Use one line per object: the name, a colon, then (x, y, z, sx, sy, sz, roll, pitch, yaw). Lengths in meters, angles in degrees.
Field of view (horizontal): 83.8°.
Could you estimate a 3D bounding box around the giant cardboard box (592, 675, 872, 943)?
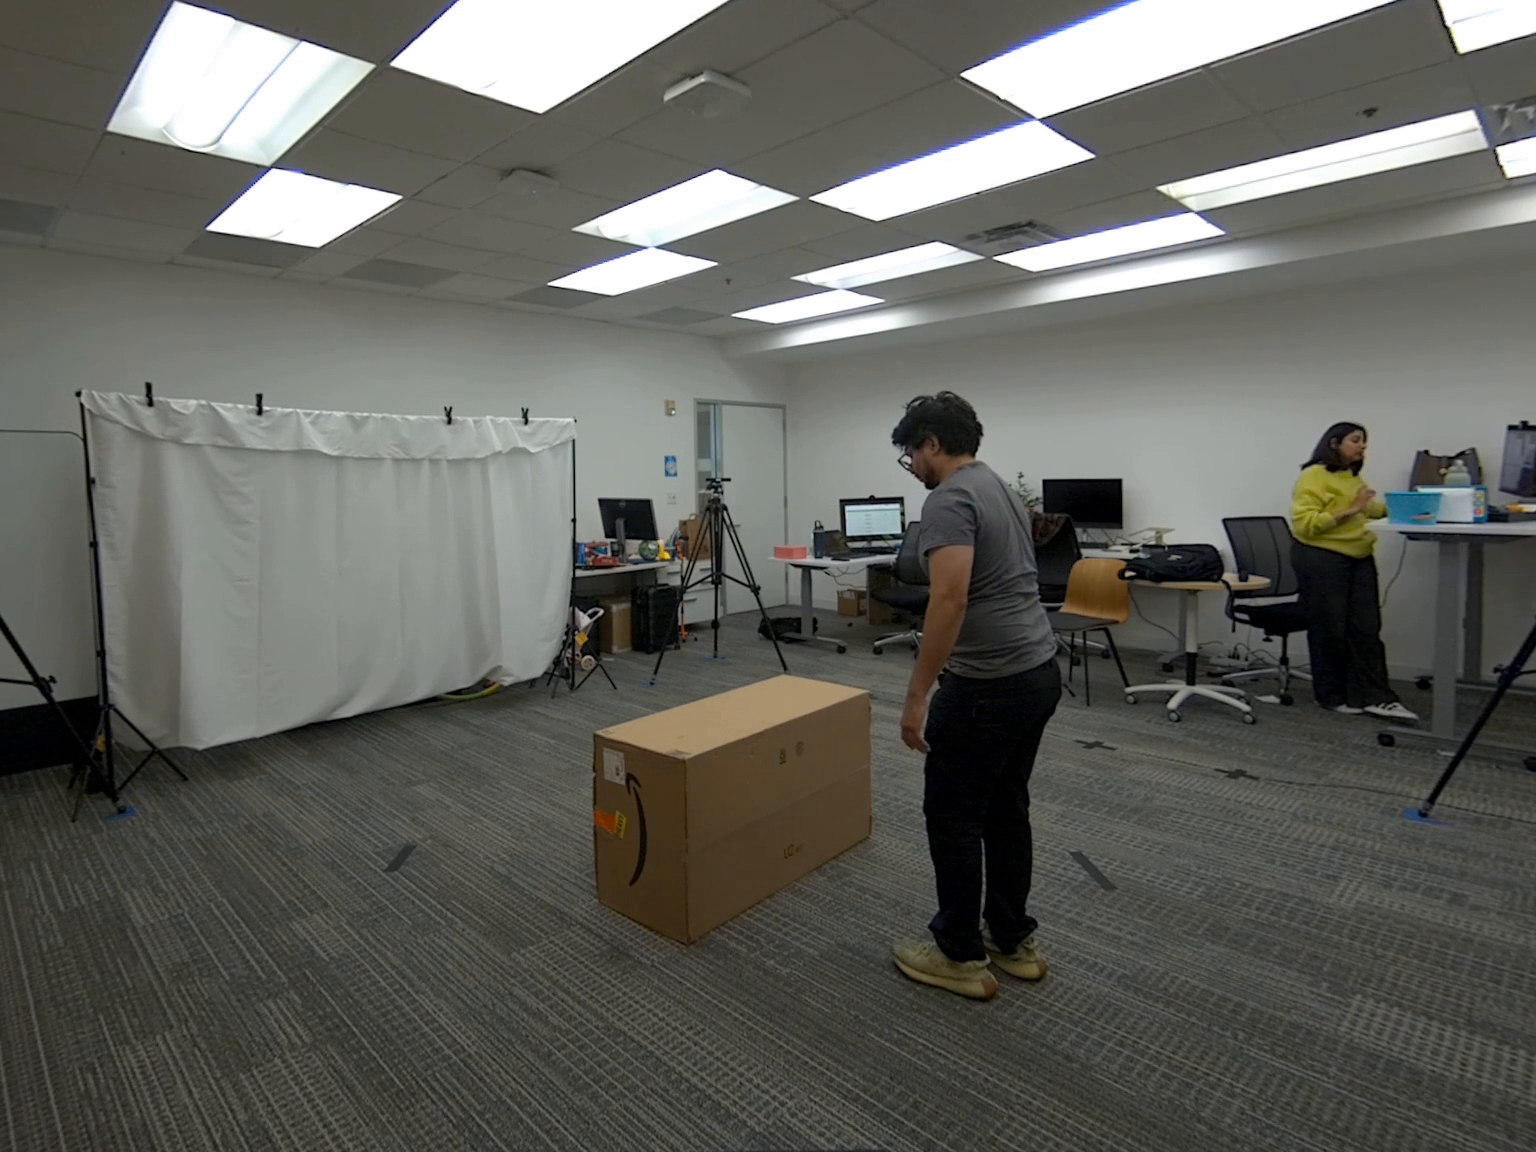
giant cardboard box: (-0.092, 0.758, 3.061, 0.439, 0.575, 1.000, 3, 7, 40)
